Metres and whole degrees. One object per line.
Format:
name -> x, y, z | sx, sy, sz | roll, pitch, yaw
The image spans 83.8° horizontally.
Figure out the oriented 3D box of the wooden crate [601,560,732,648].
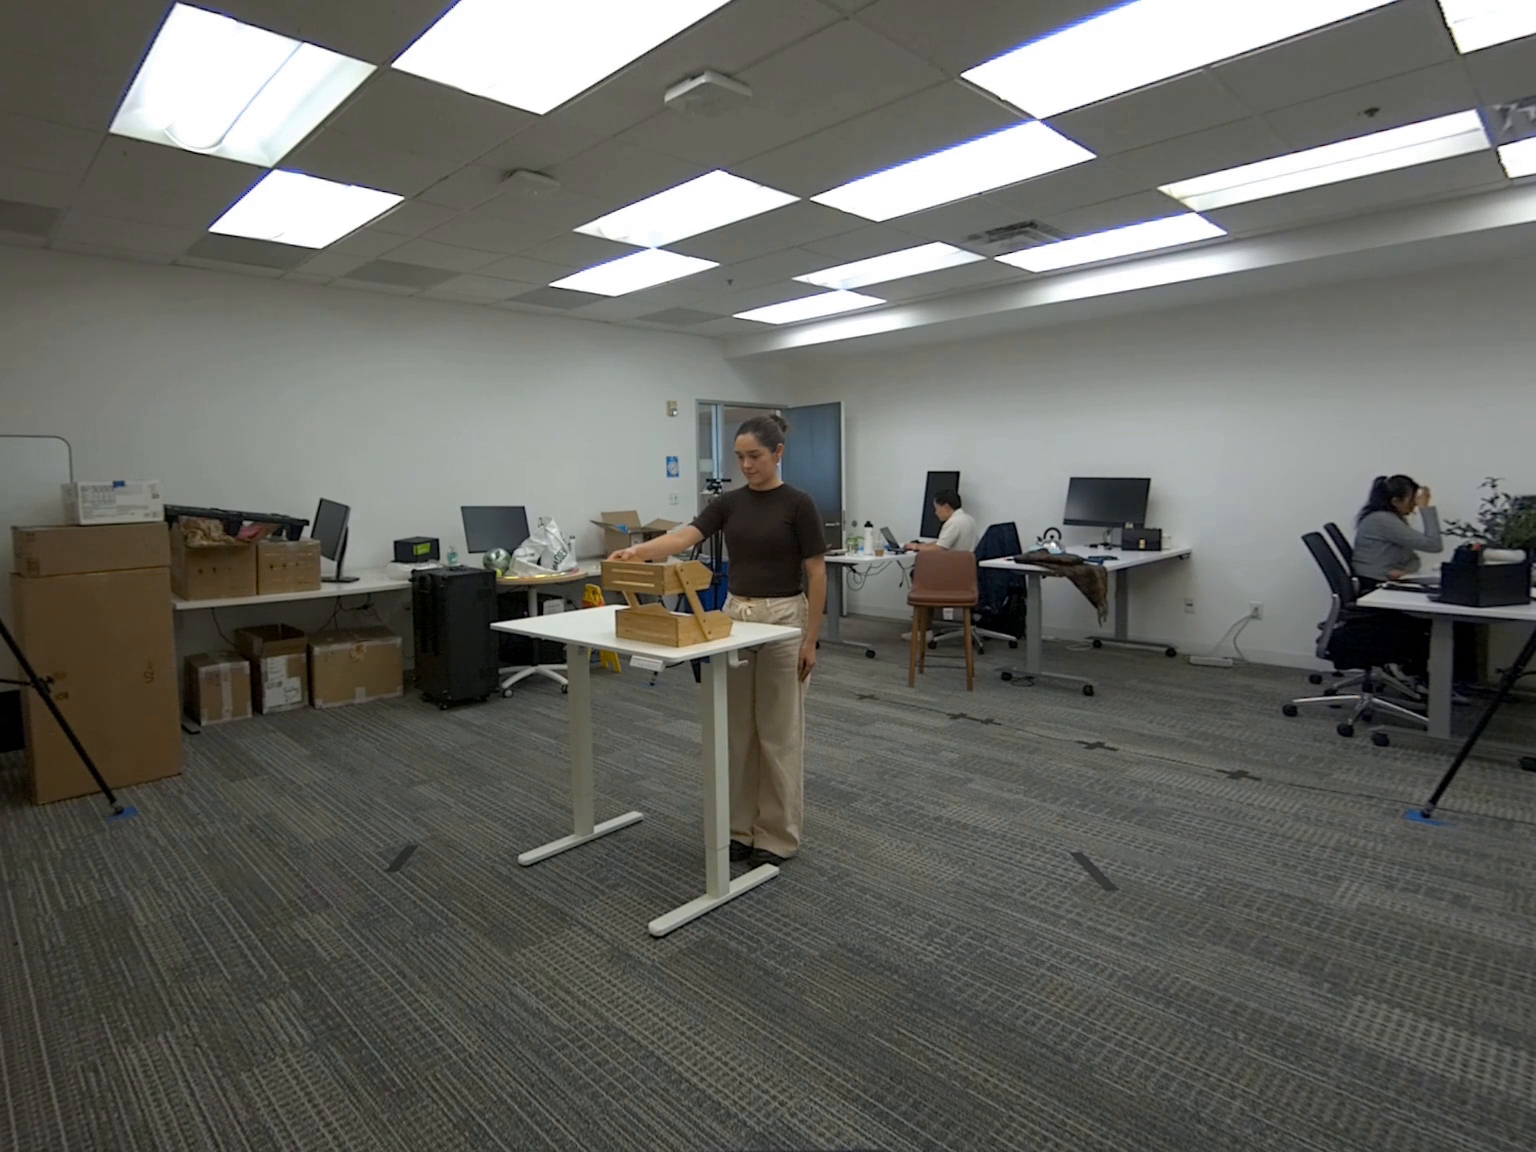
wooden crate -> -0.327, 0.072, 2.780 | 0.334, 0.272, 0.294 | 2, 7, 42
